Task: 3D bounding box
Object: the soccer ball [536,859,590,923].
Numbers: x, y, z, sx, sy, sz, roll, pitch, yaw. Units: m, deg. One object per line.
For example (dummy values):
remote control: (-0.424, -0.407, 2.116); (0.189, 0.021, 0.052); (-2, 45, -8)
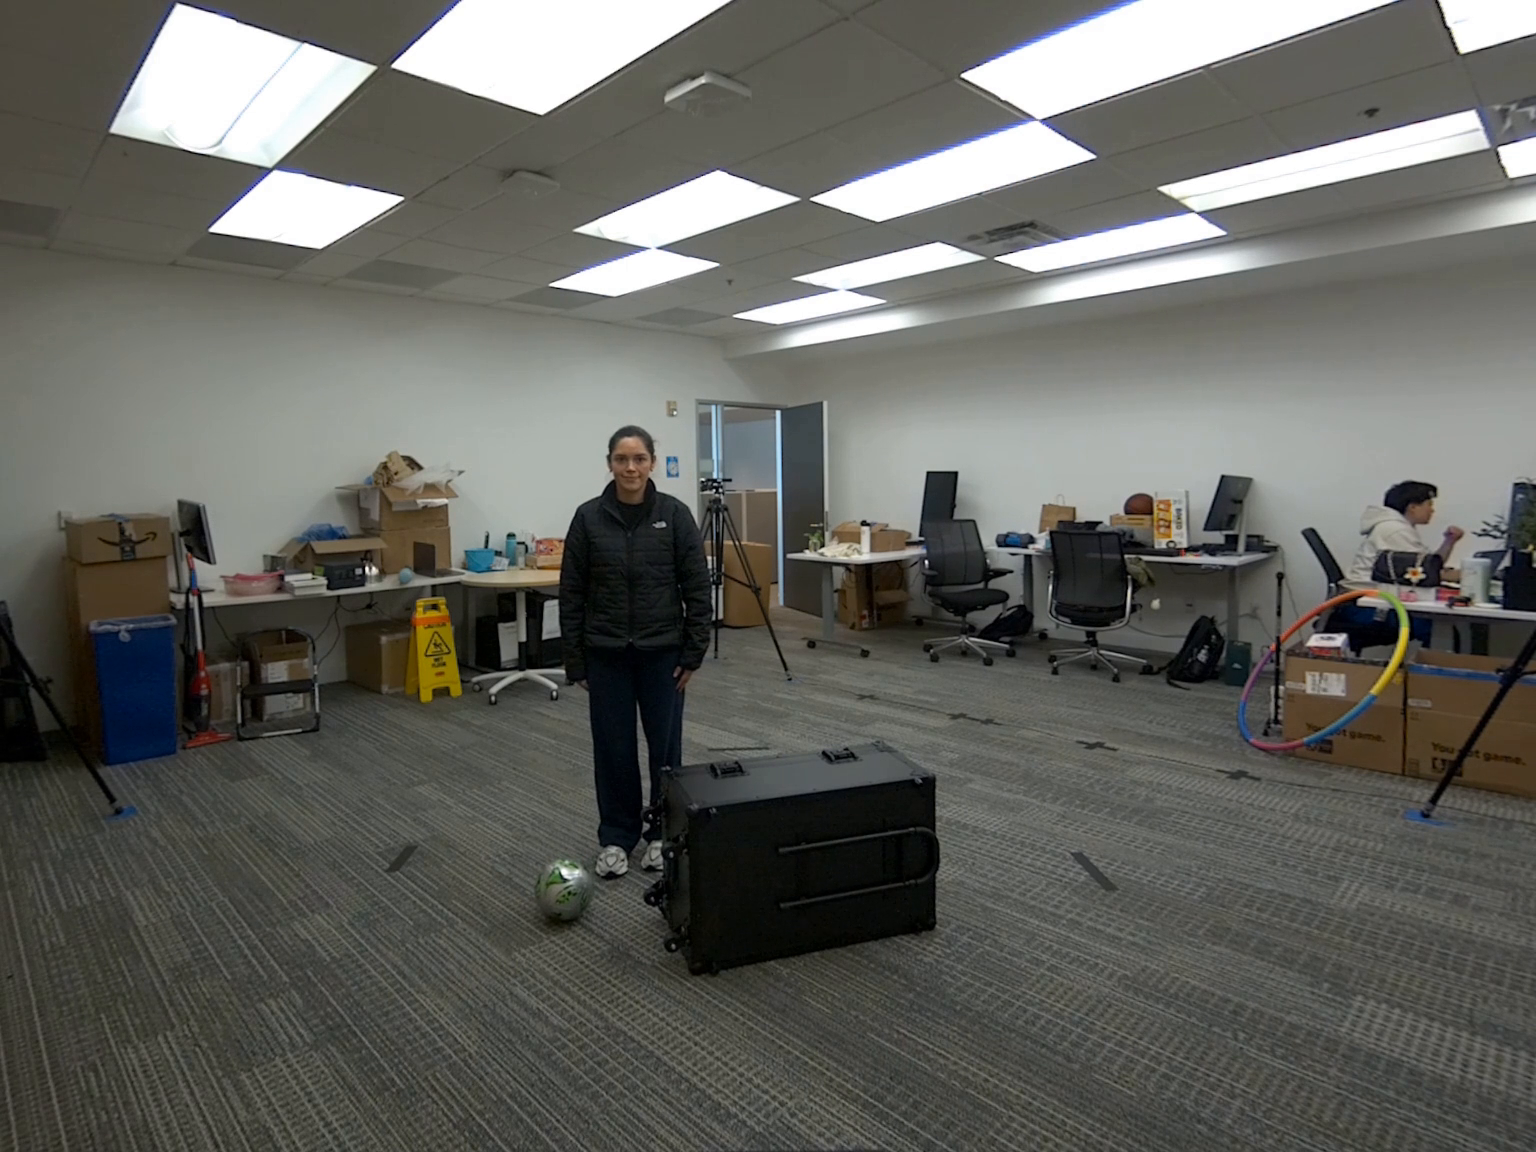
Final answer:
soccer ball: (-0.650, 1.012, 2.743); (0.187, 0.187, 0.188); (-1, 5, -2)
